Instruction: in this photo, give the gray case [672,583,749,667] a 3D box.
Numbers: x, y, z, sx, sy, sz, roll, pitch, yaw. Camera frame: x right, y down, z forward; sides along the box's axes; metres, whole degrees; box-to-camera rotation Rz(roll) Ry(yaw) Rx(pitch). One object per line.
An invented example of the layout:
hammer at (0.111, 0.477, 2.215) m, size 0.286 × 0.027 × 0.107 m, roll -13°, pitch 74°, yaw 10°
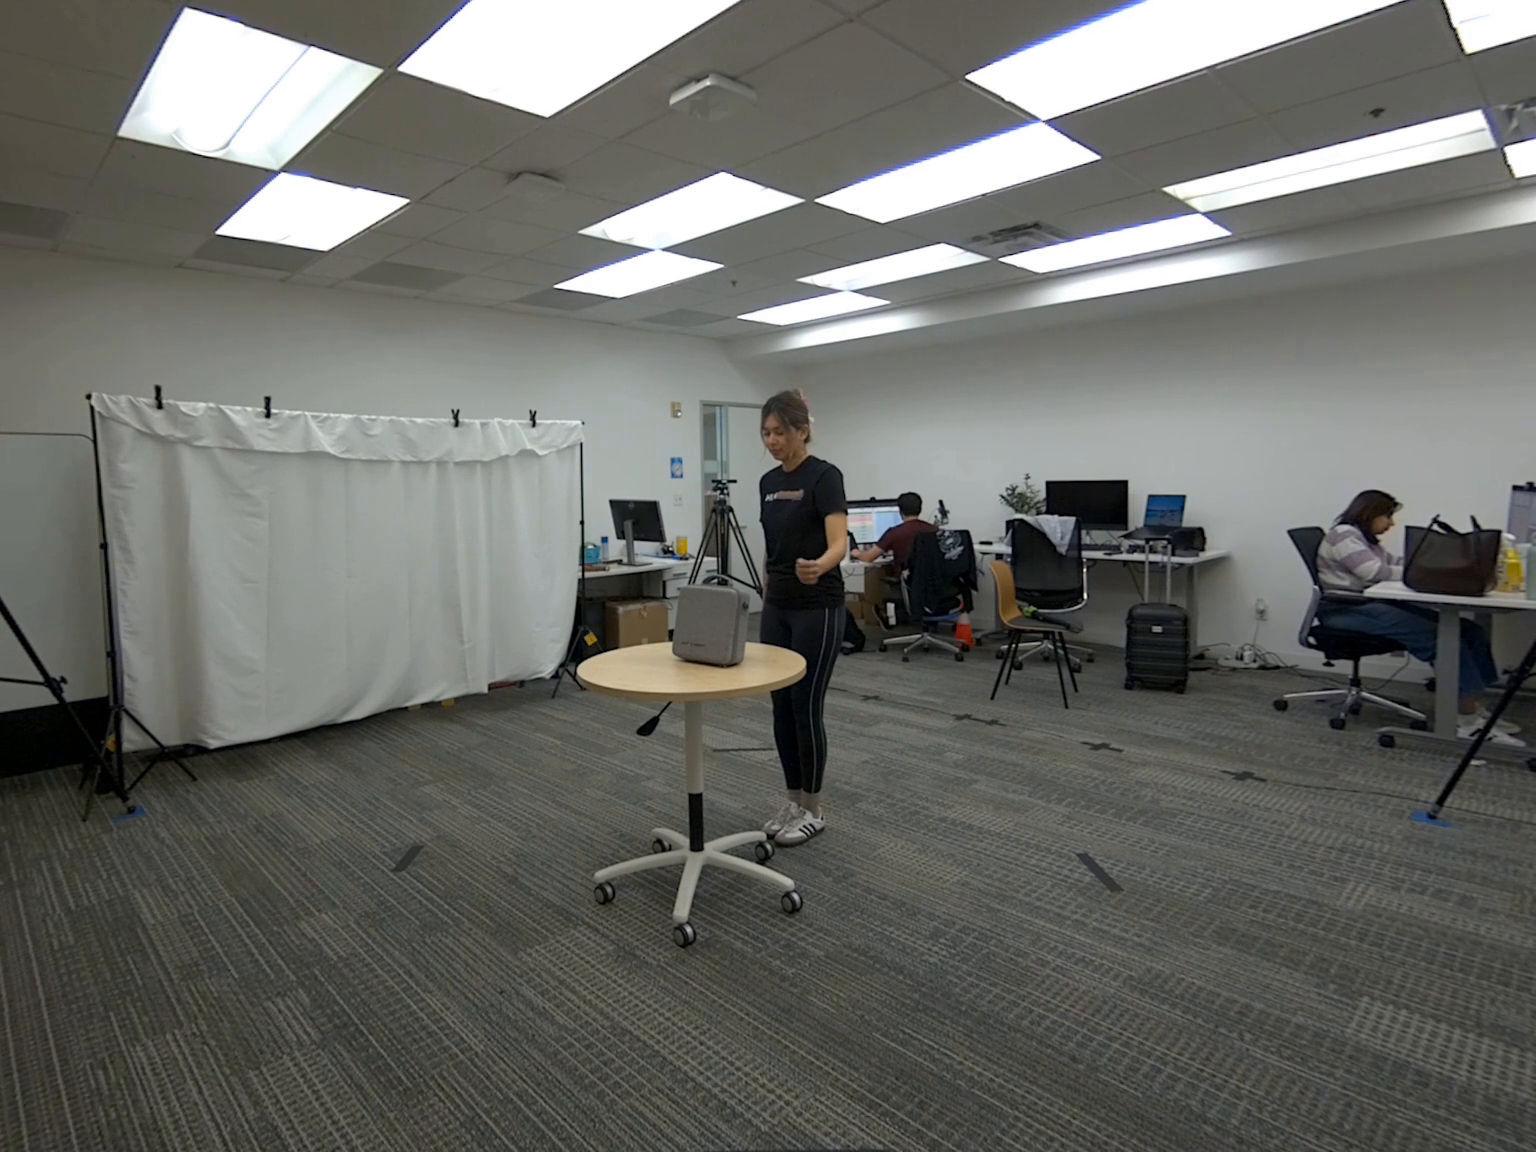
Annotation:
gray case at (-0.192, 0.158, 2.890) m, size 0.264 × 0.262 × 0.101 m, roll 4°, pitch -6°, yaw 36°
